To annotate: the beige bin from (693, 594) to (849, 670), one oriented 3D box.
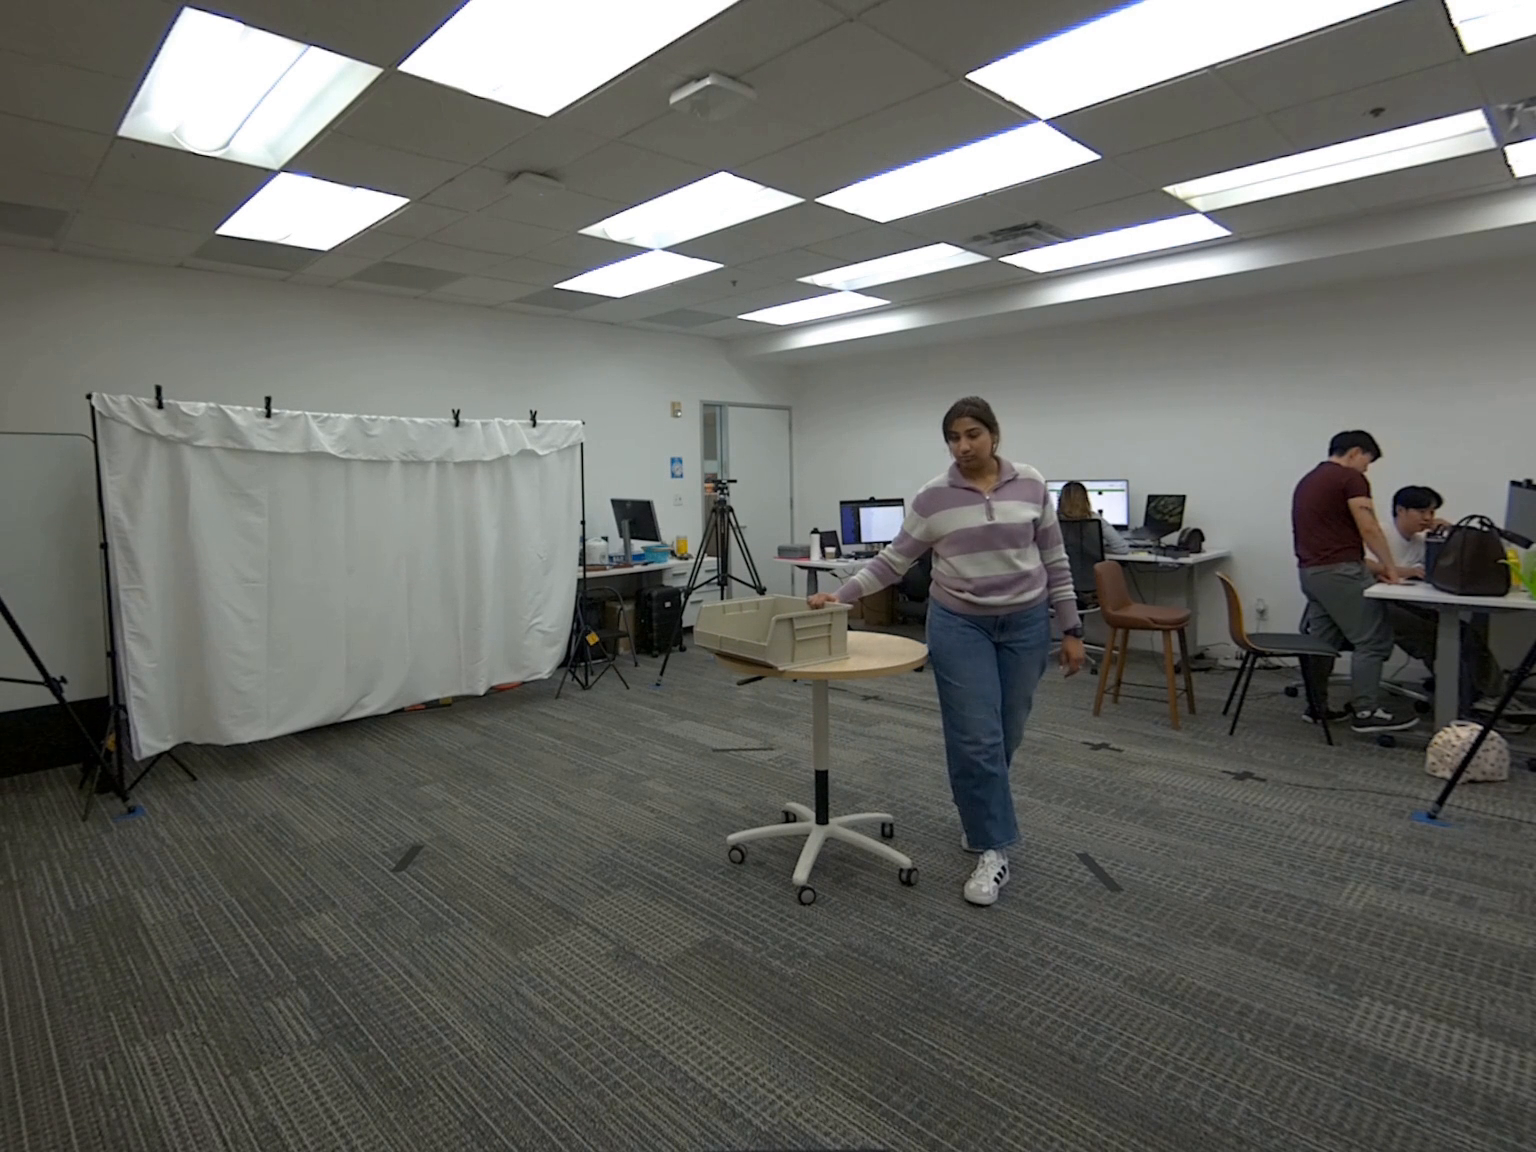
[{"bbox_3d":[0.013,0.191,2.963,0.367,0.188,0.435,-4,6,-37],"label":"beige bin"}]
